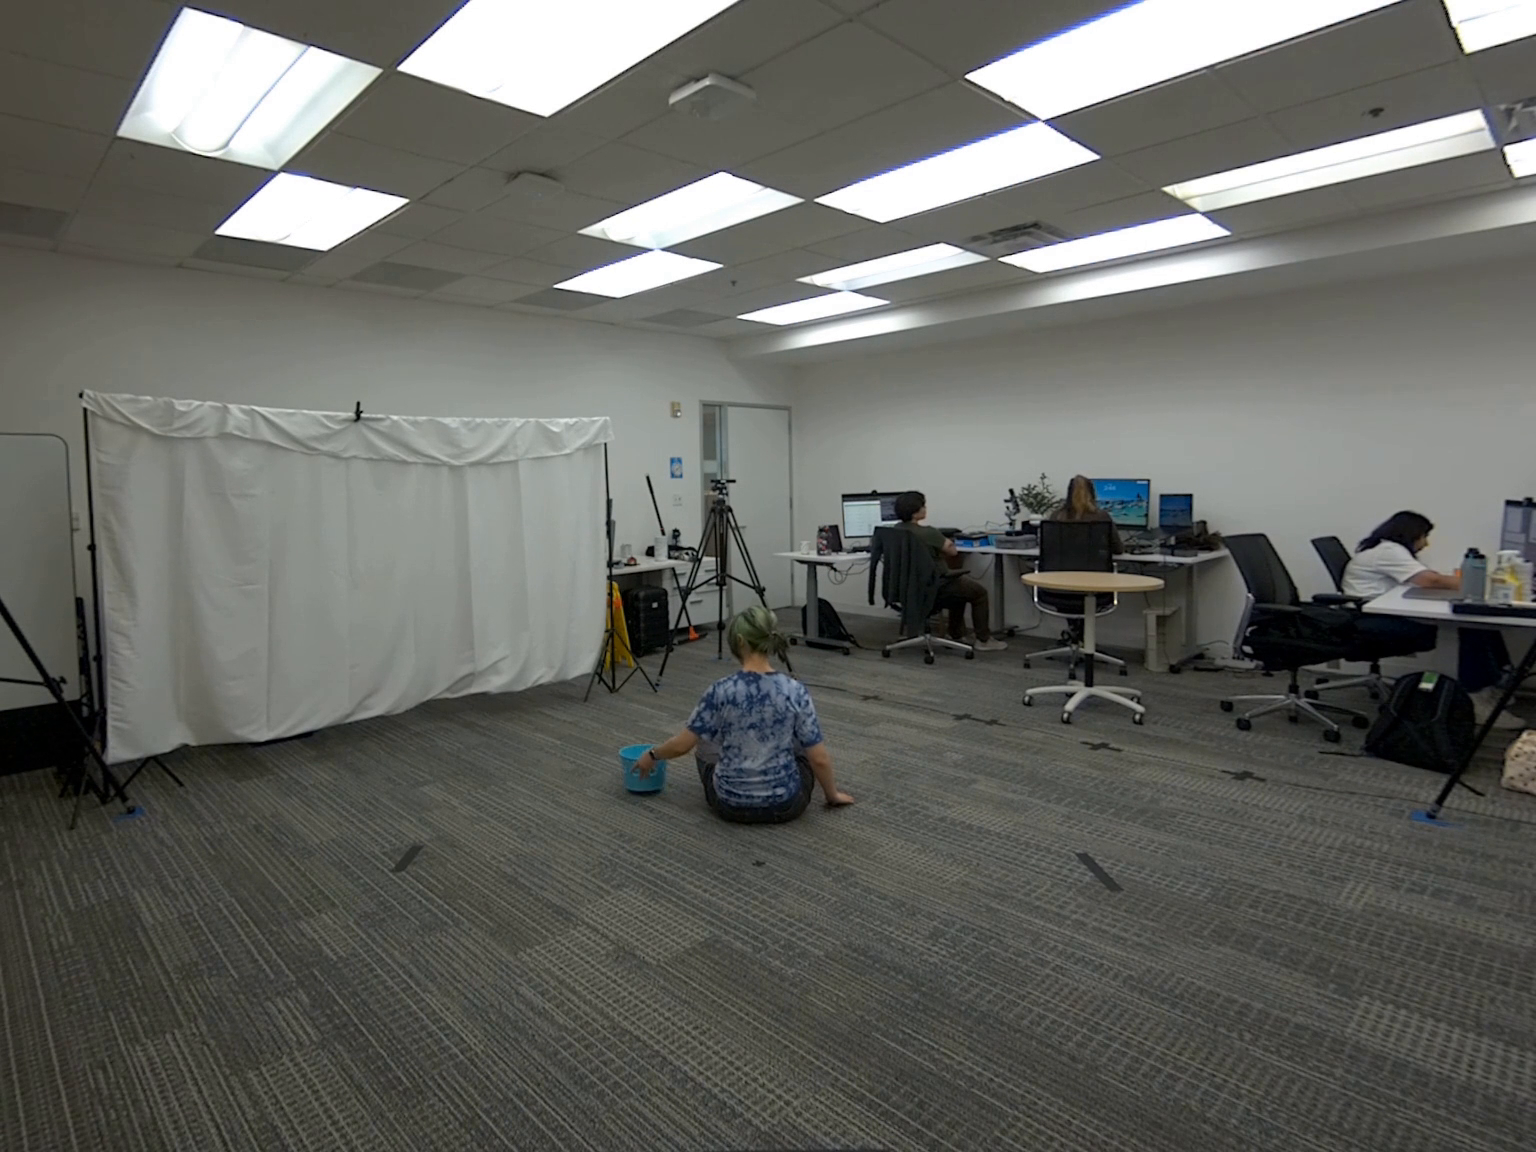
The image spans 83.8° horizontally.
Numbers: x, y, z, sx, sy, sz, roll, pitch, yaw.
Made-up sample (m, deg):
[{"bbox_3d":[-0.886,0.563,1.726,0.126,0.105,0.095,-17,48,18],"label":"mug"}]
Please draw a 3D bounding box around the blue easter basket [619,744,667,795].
[{"bbox_3d":[-0.555,0.855,3.899,0.243,0.155,0.245,0,5,-2],"label":"blue easter basket"}]
